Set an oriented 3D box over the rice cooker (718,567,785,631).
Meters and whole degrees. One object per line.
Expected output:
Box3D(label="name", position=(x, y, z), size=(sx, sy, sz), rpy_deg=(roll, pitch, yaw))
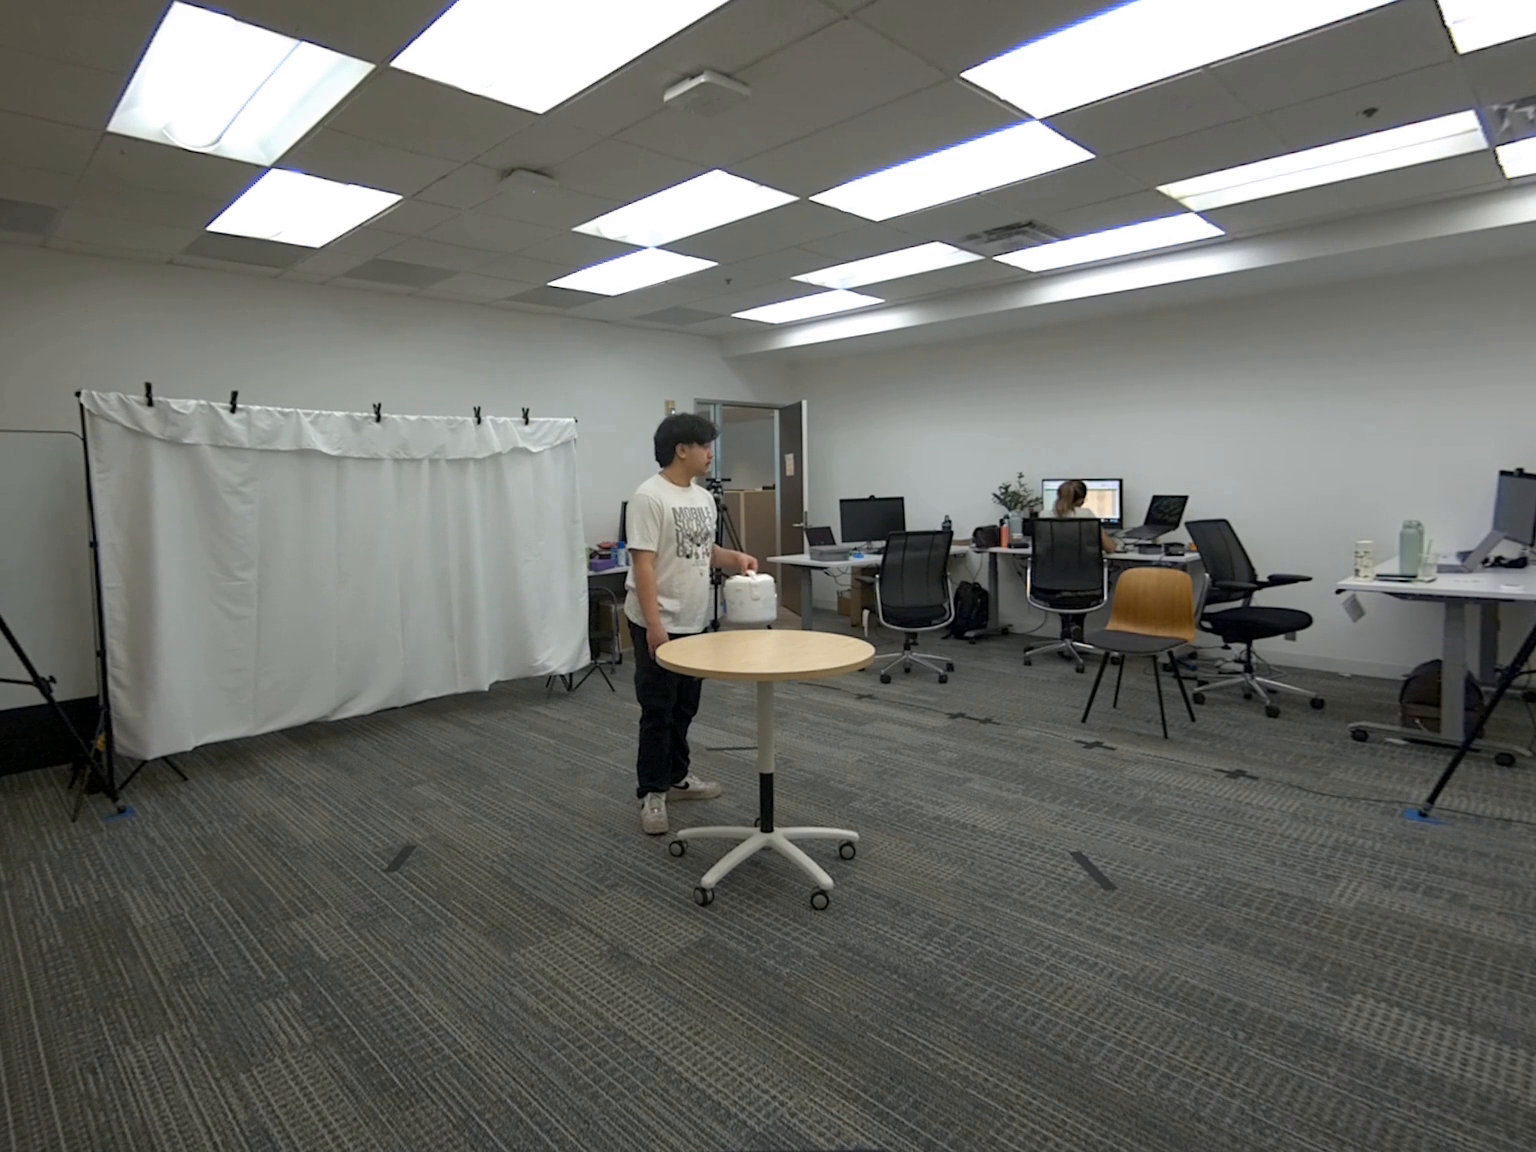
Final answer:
Box3D(label="rice cooker", position=(-0.075, 0.089, 3.611), size=(0.215, 0.232, 0.223), rpy_deg=(-5, 2, -12))
